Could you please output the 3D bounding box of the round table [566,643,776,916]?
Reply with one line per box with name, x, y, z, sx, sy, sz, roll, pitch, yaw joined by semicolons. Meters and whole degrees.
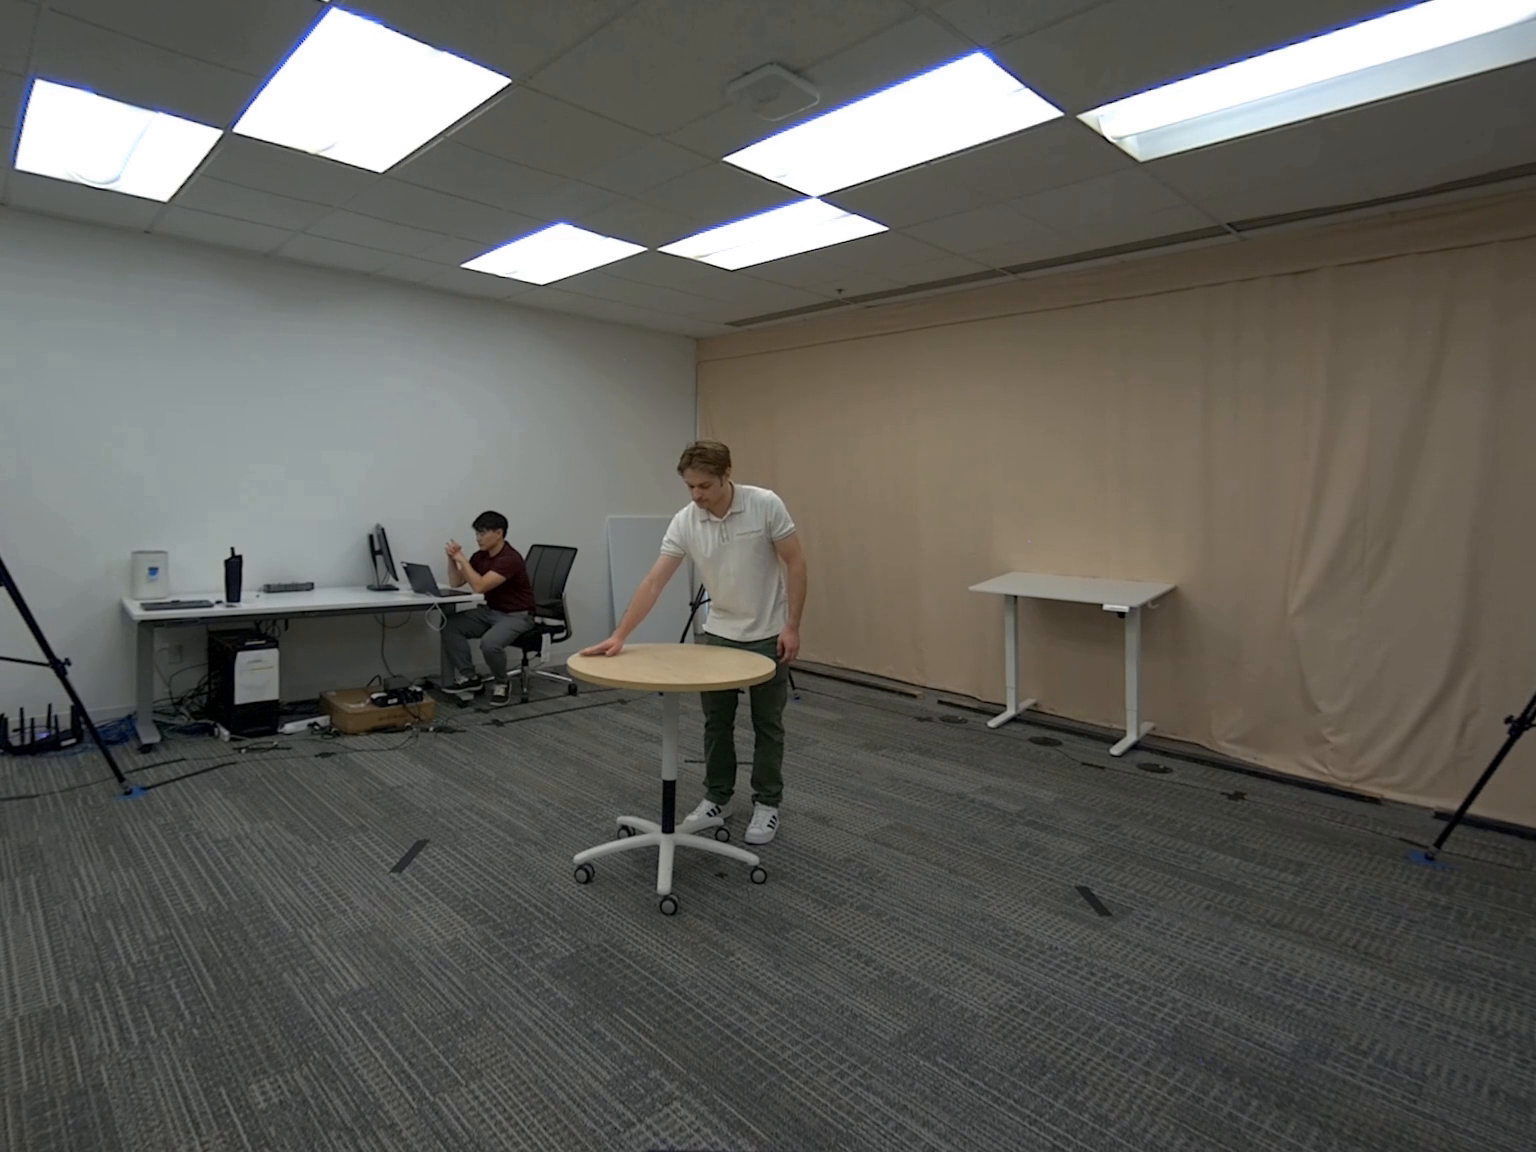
round table;-0.385;0.703;3.117;0.784;0.785;0.787;2;4;-1
